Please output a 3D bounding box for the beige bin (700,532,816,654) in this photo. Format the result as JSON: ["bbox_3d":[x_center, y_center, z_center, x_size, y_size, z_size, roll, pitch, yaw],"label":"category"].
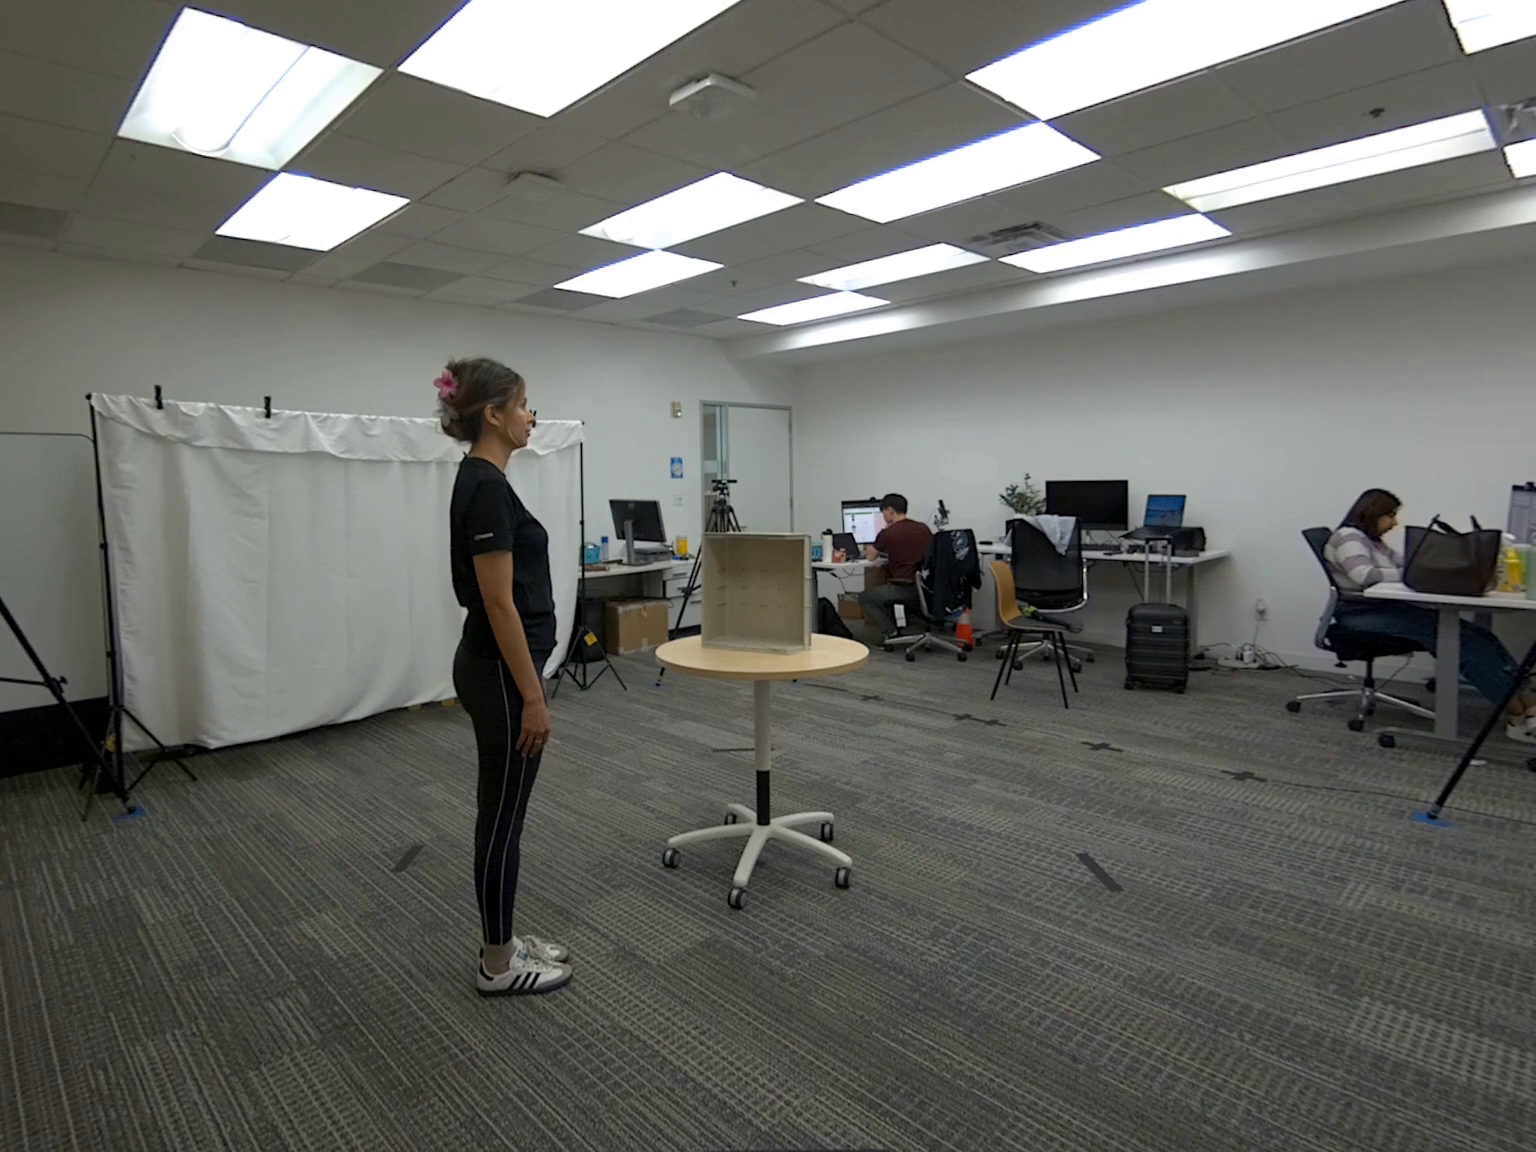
[{"bbox_3d":[-0.032,0.052,3.121,0.387,0.421,0.185,2,4,27],"label":"beige bin"}]
